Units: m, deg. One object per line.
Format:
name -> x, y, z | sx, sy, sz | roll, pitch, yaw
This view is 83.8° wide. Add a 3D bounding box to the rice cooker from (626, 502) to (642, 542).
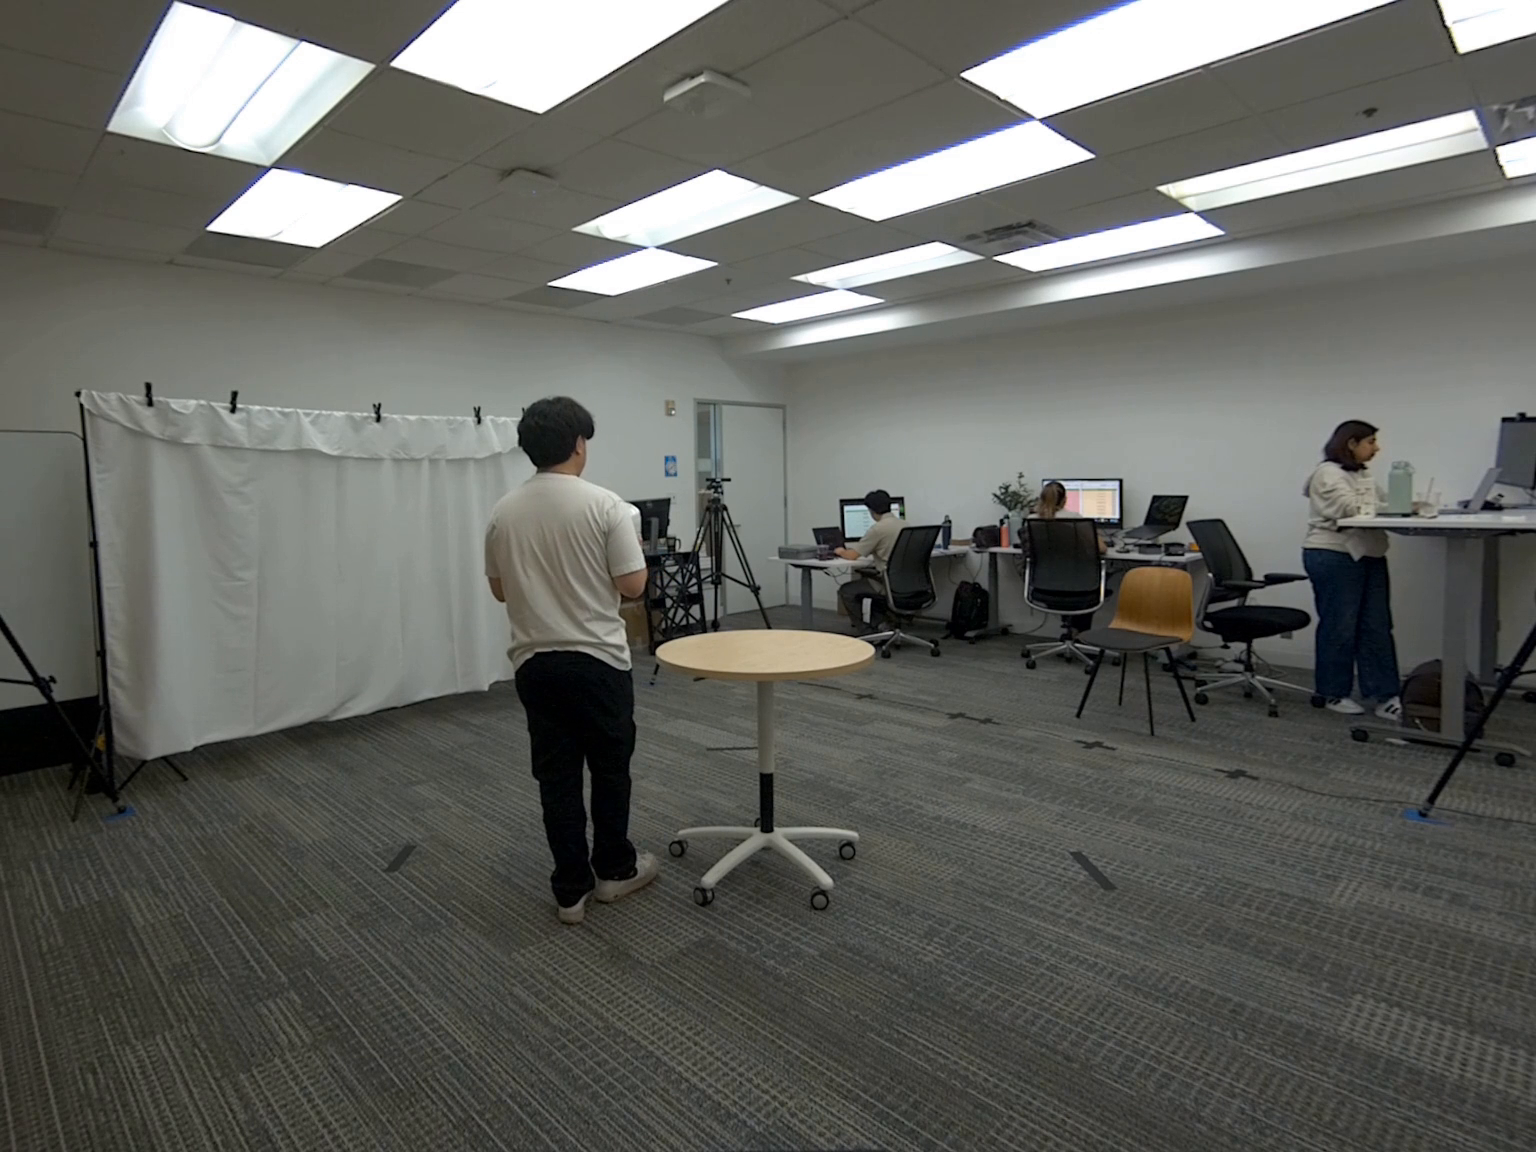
rice cooker -> -0.546, -0.159, 3.019 | 0.222, 0.230, 0.219 | 6, 17, 19
